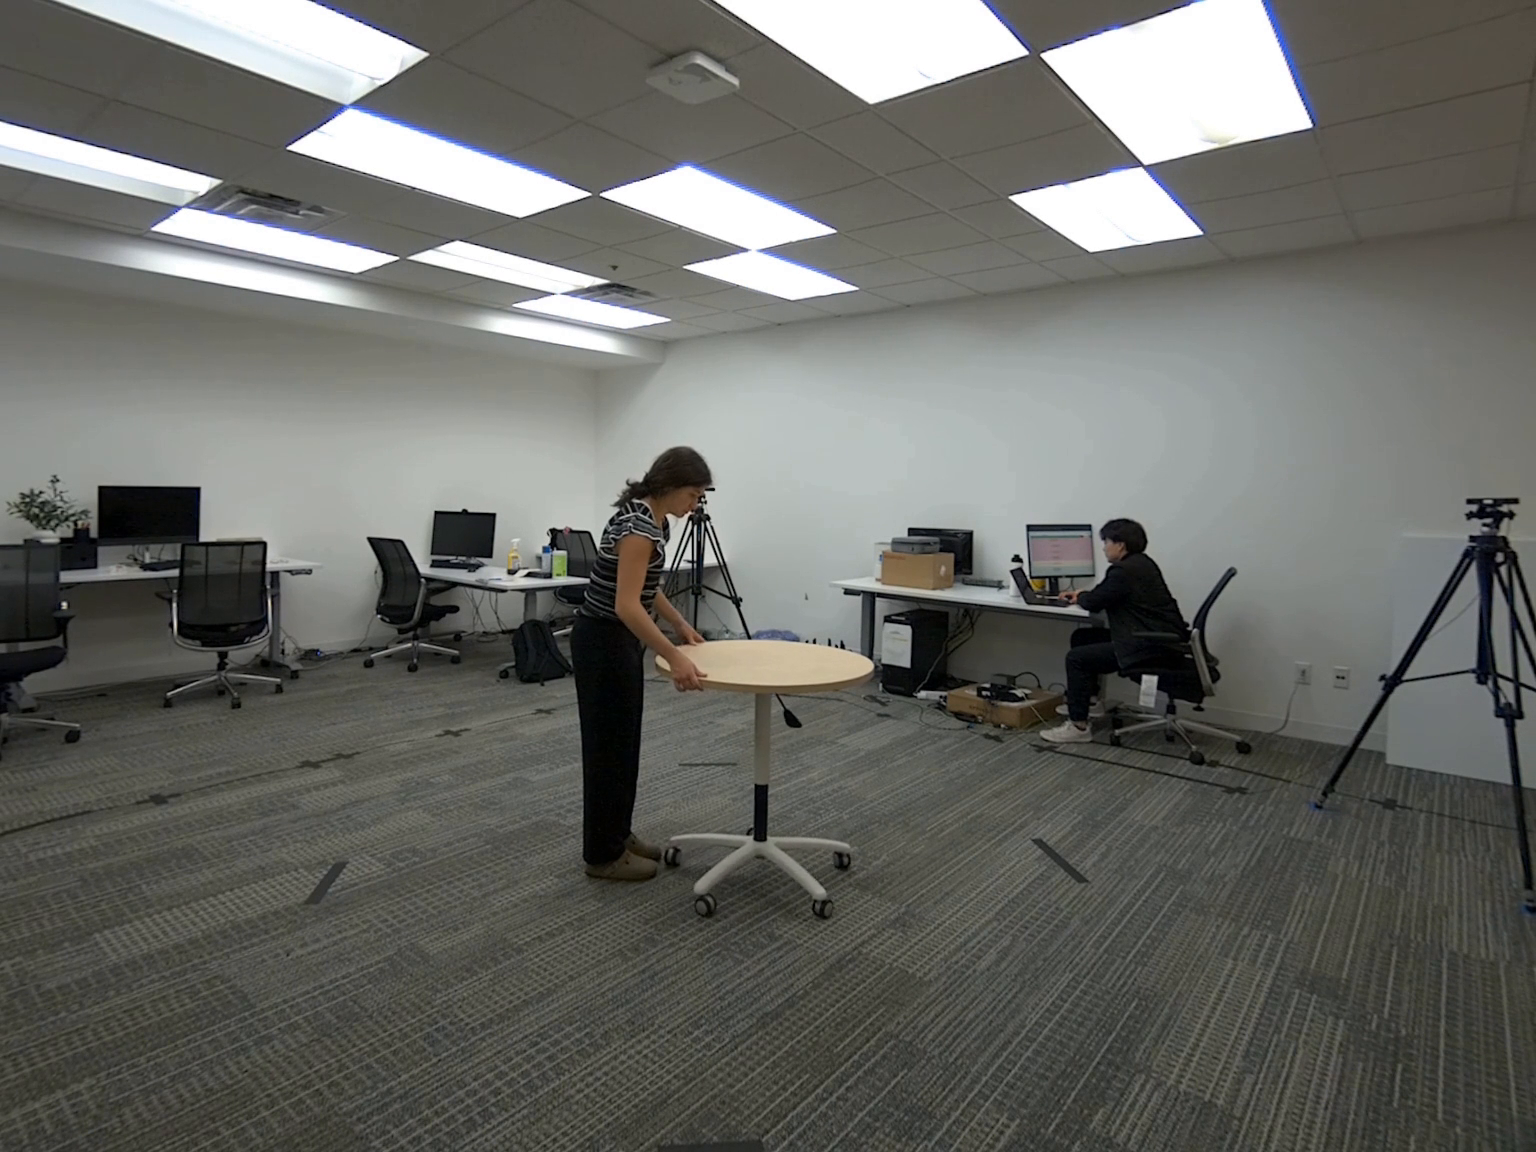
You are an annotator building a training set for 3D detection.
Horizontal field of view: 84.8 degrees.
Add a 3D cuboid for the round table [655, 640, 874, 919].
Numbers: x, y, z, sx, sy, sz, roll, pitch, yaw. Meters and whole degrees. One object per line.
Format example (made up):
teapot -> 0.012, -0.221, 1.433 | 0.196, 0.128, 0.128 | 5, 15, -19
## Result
round table -> -0.038, 0.685, 3.027 | 0.784, 0.784, 0.789 | 1, 4, -2
